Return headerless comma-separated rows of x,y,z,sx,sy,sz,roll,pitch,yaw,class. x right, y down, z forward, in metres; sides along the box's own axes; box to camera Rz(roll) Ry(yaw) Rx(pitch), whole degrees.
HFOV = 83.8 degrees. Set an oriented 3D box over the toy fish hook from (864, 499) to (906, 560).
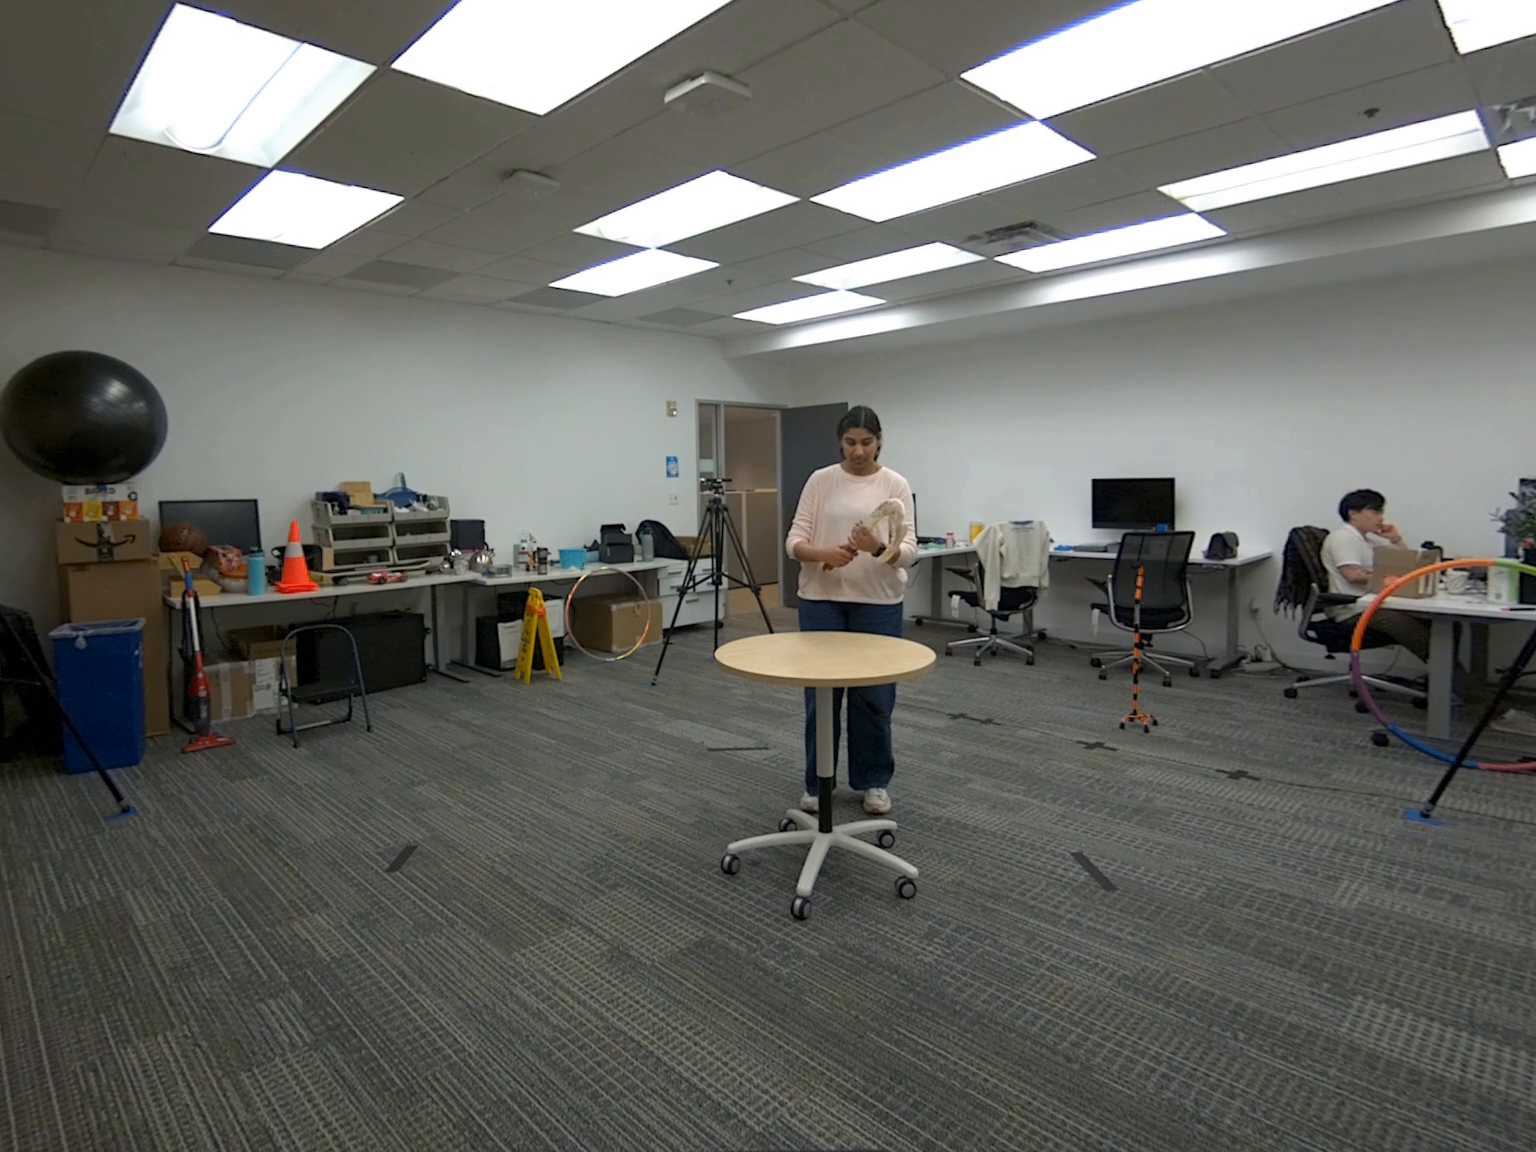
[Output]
0.381,-0.094,3.217,0.047,0.230,0.505,12,-35,-24,toy fish hook
